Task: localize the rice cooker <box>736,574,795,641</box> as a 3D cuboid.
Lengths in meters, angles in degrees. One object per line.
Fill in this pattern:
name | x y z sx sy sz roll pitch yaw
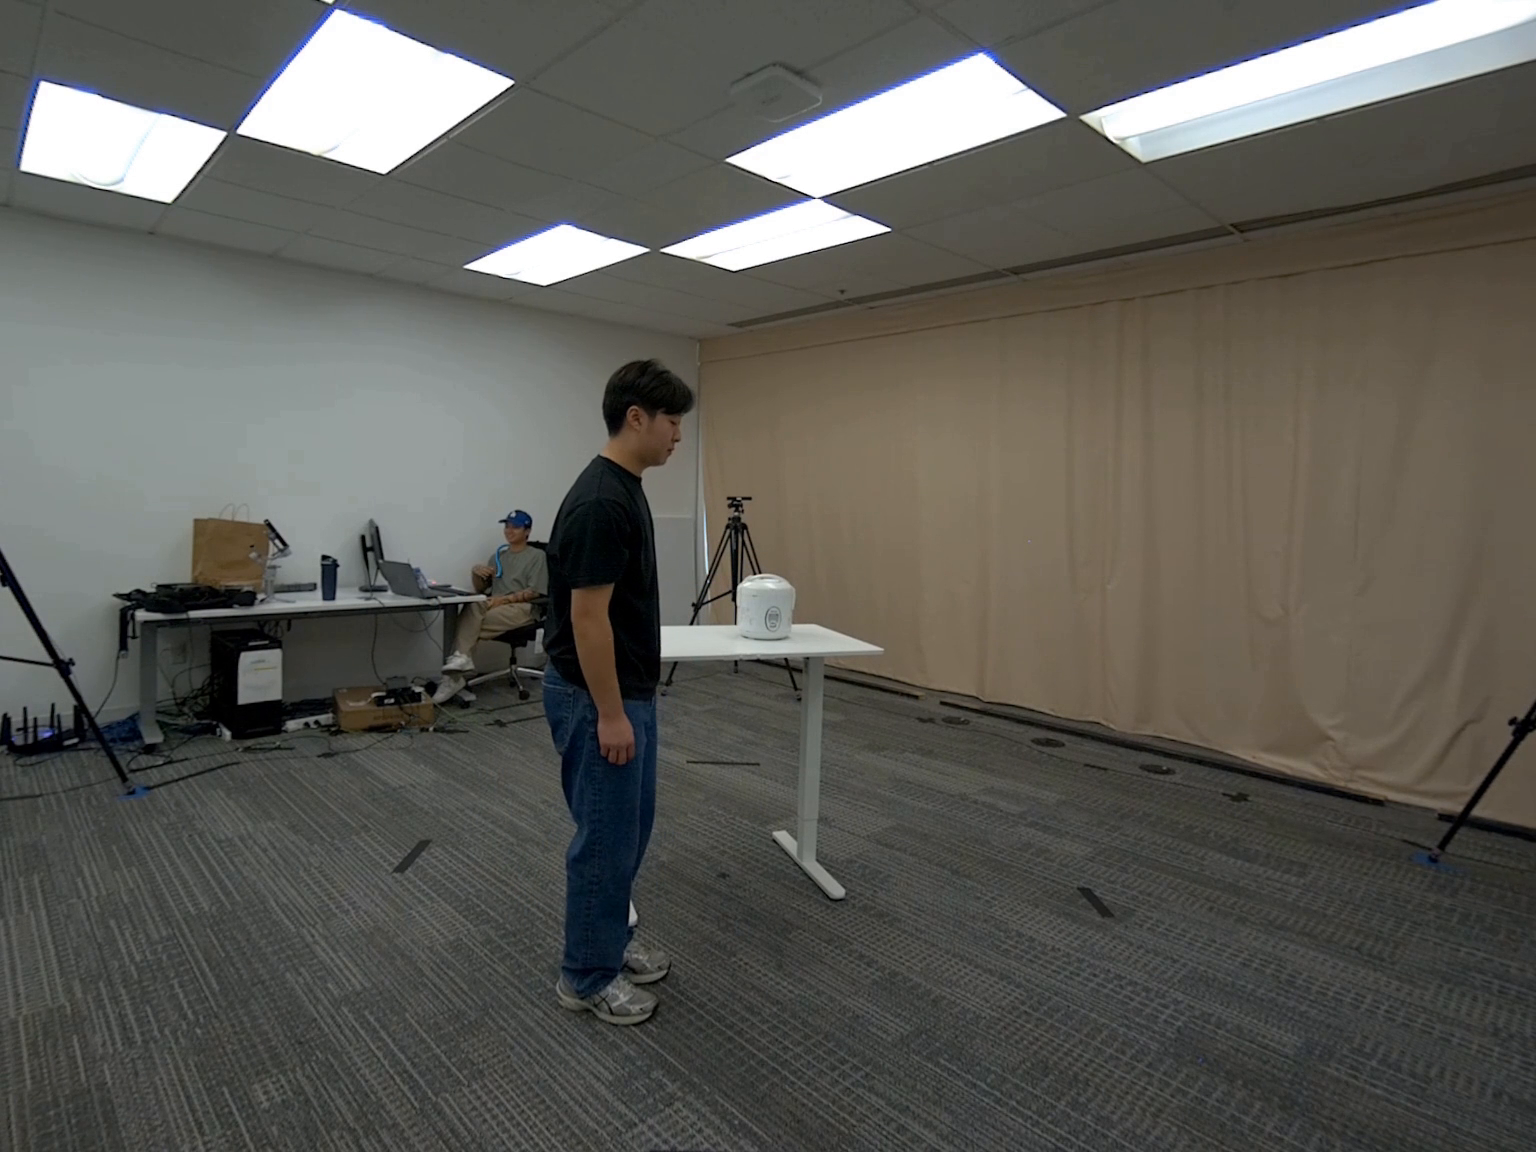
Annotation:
rice cooker | -0.014 0.111 3.117 0.218 0.232 0.221 0 4 -17
